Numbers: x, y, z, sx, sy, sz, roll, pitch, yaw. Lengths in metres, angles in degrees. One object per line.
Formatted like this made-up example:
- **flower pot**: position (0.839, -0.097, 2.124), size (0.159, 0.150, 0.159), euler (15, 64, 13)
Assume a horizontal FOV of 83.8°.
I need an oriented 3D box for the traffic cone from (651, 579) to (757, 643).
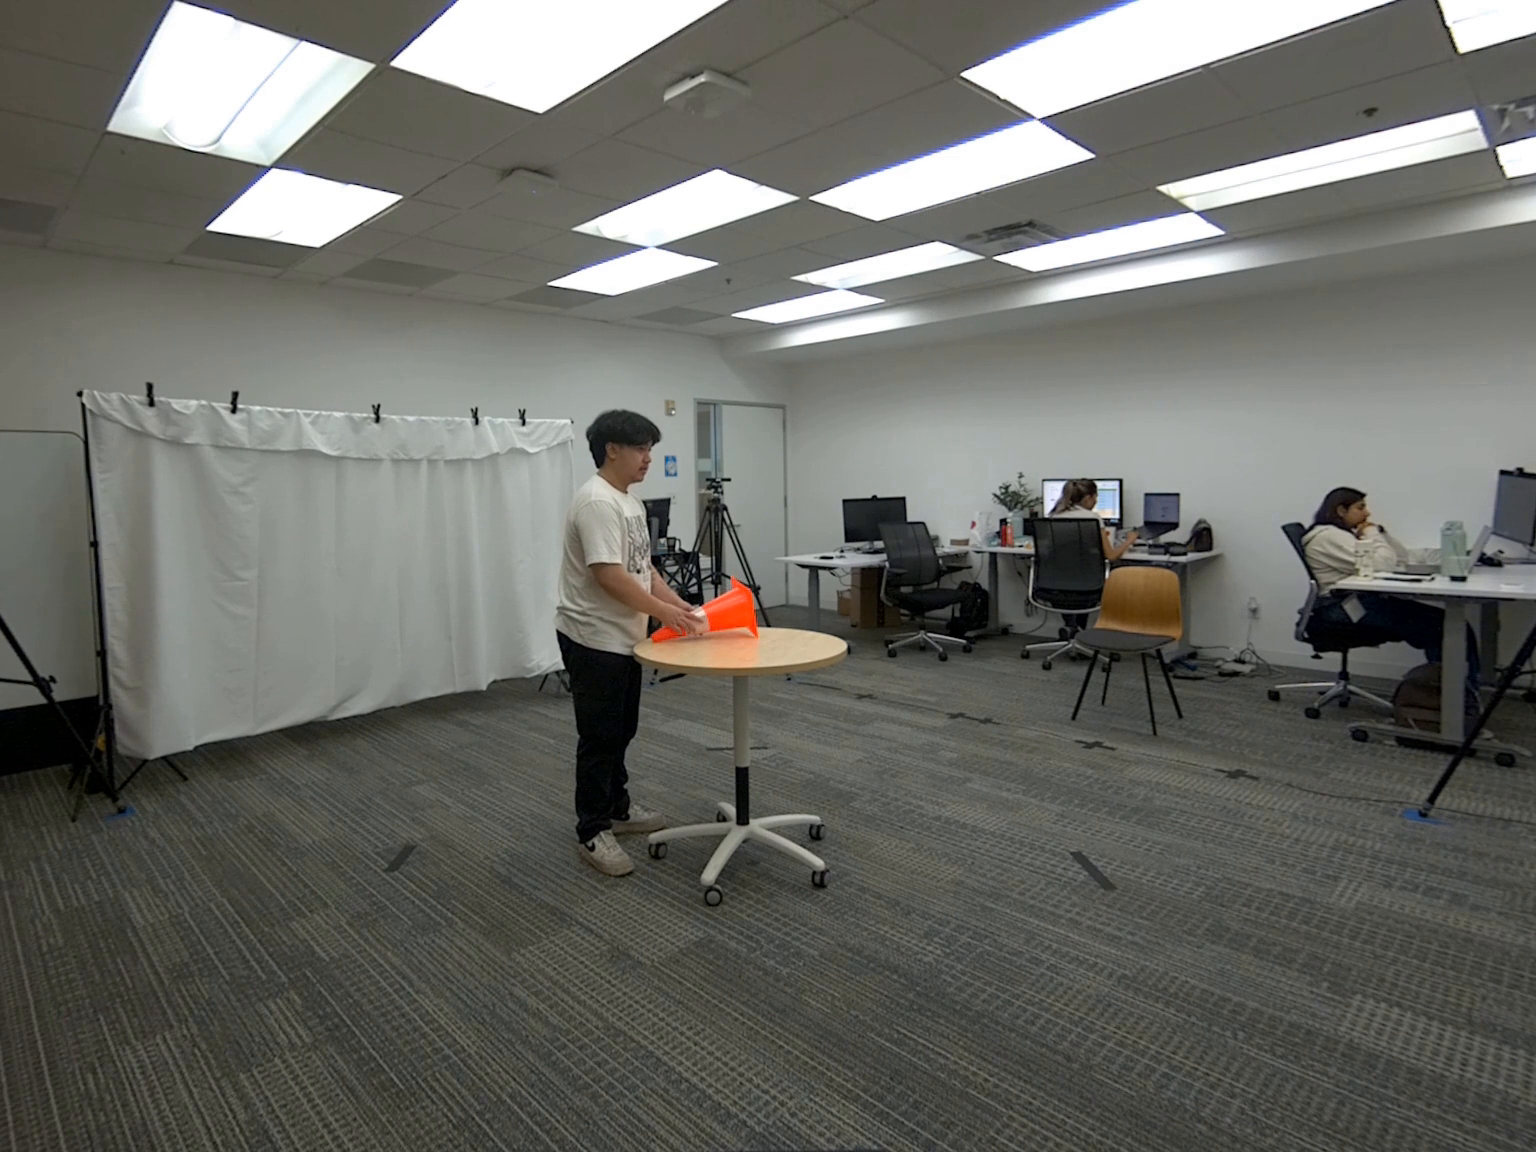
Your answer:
- **traffic cone**: position (-0.259, 0.178, 3.195), size (0.380, 0.198, 0.212), euler (-18, 26, -17)
